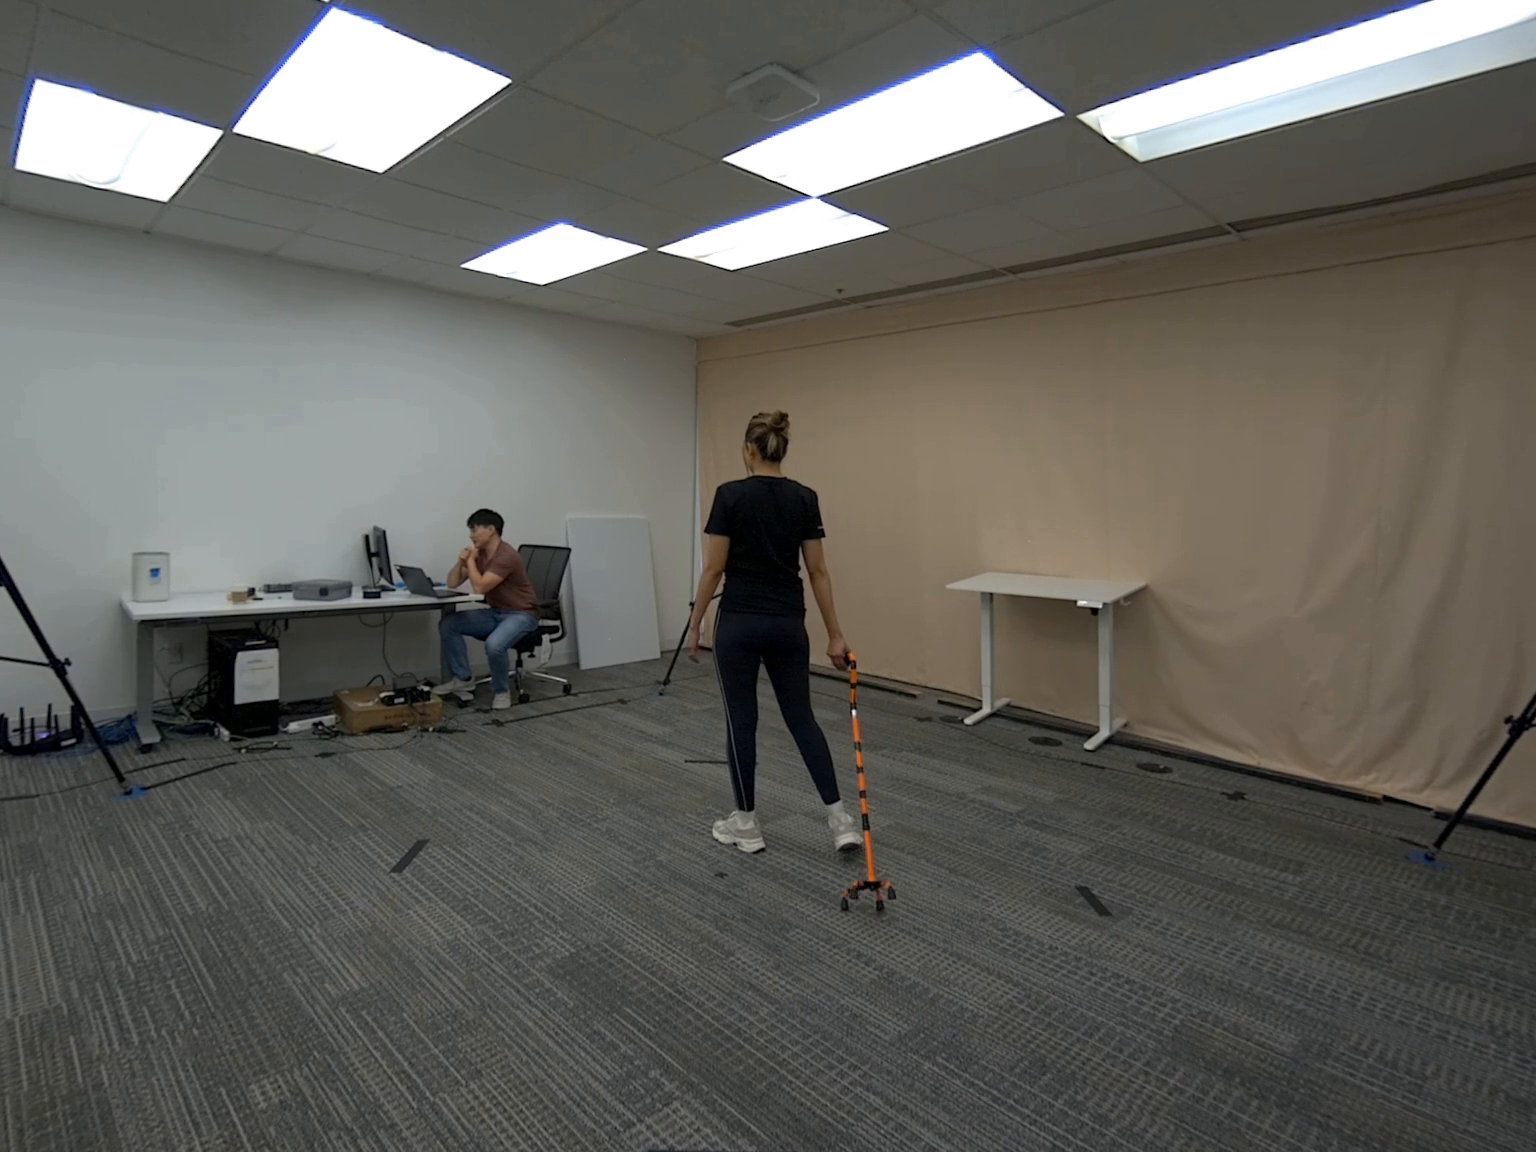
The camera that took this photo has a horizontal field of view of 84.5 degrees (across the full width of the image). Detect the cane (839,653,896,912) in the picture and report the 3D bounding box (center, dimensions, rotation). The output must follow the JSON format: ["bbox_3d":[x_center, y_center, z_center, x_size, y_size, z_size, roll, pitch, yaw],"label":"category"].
[{"bbox_3d":[0.310,0.693,3.024,0.151,0.926,0.203,1,-33,-4],"label":"cane"}]
